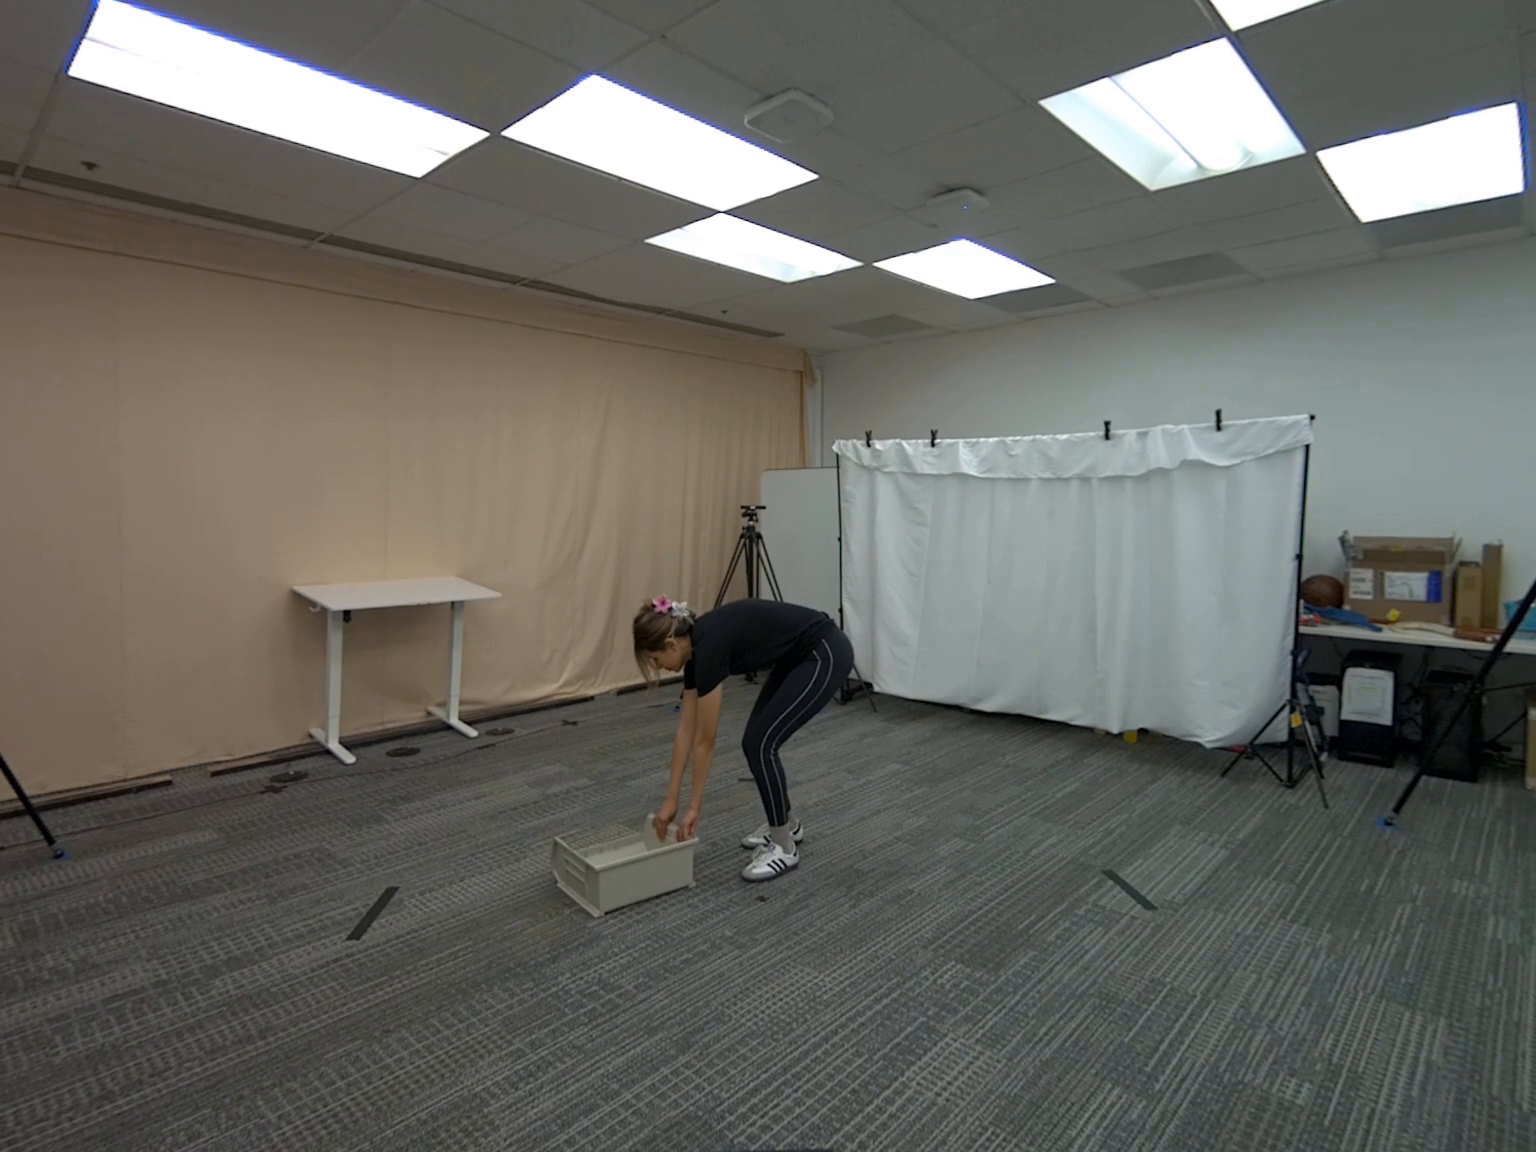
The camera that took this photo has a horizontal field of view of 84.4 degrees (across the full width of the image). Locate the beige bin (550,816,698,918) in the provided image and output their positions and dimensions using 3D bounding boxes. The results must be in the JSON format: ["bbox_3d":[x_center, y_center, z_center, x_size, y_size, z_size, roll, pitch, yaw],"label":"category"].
[{"bbox_3d":[-0.534,1.047,3.107,0.410,0.188,0.390,-3,6,-38],"label":"beige bin"}]
